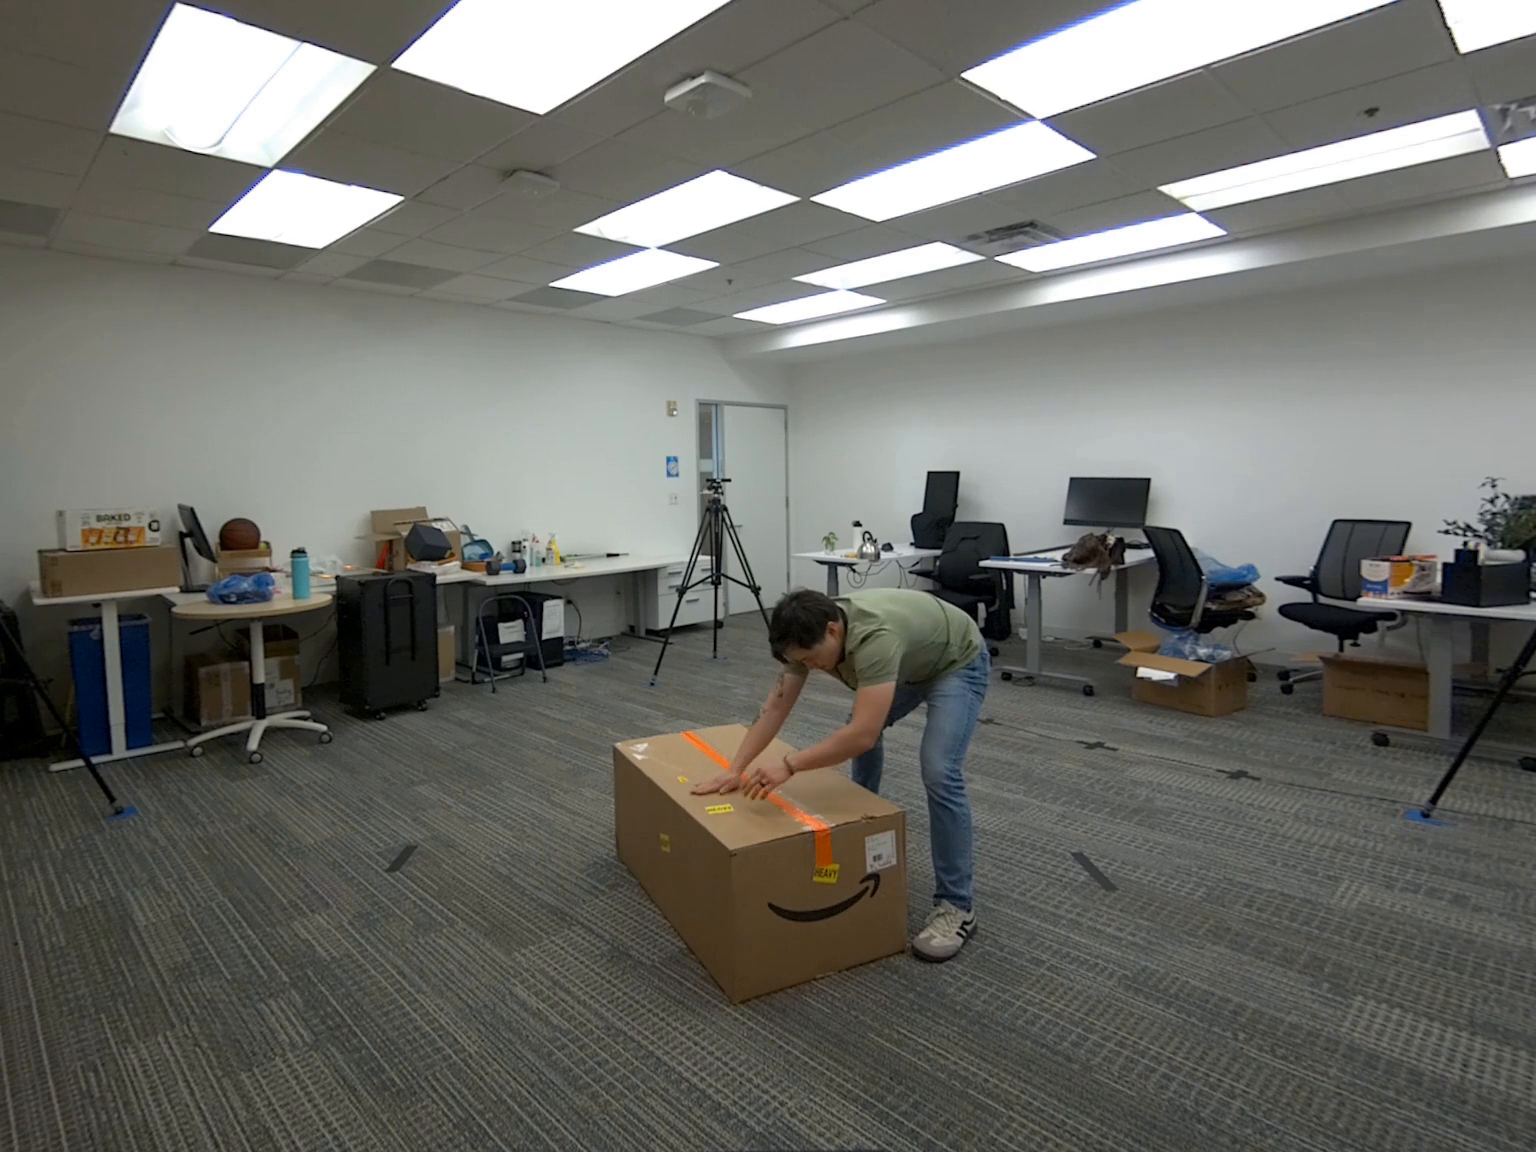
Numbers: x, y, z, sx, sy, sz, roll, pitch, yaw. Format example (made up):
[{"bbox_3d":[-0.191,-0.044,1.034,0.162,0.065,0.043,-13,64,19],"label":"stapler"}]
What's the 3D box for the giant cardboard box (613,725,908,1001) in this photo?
[{"bbox_3d":[-0.081,0.862,2.839,0.565,0.424,1.053,-4,7,-27],"label":"giant cardboard box"}]
